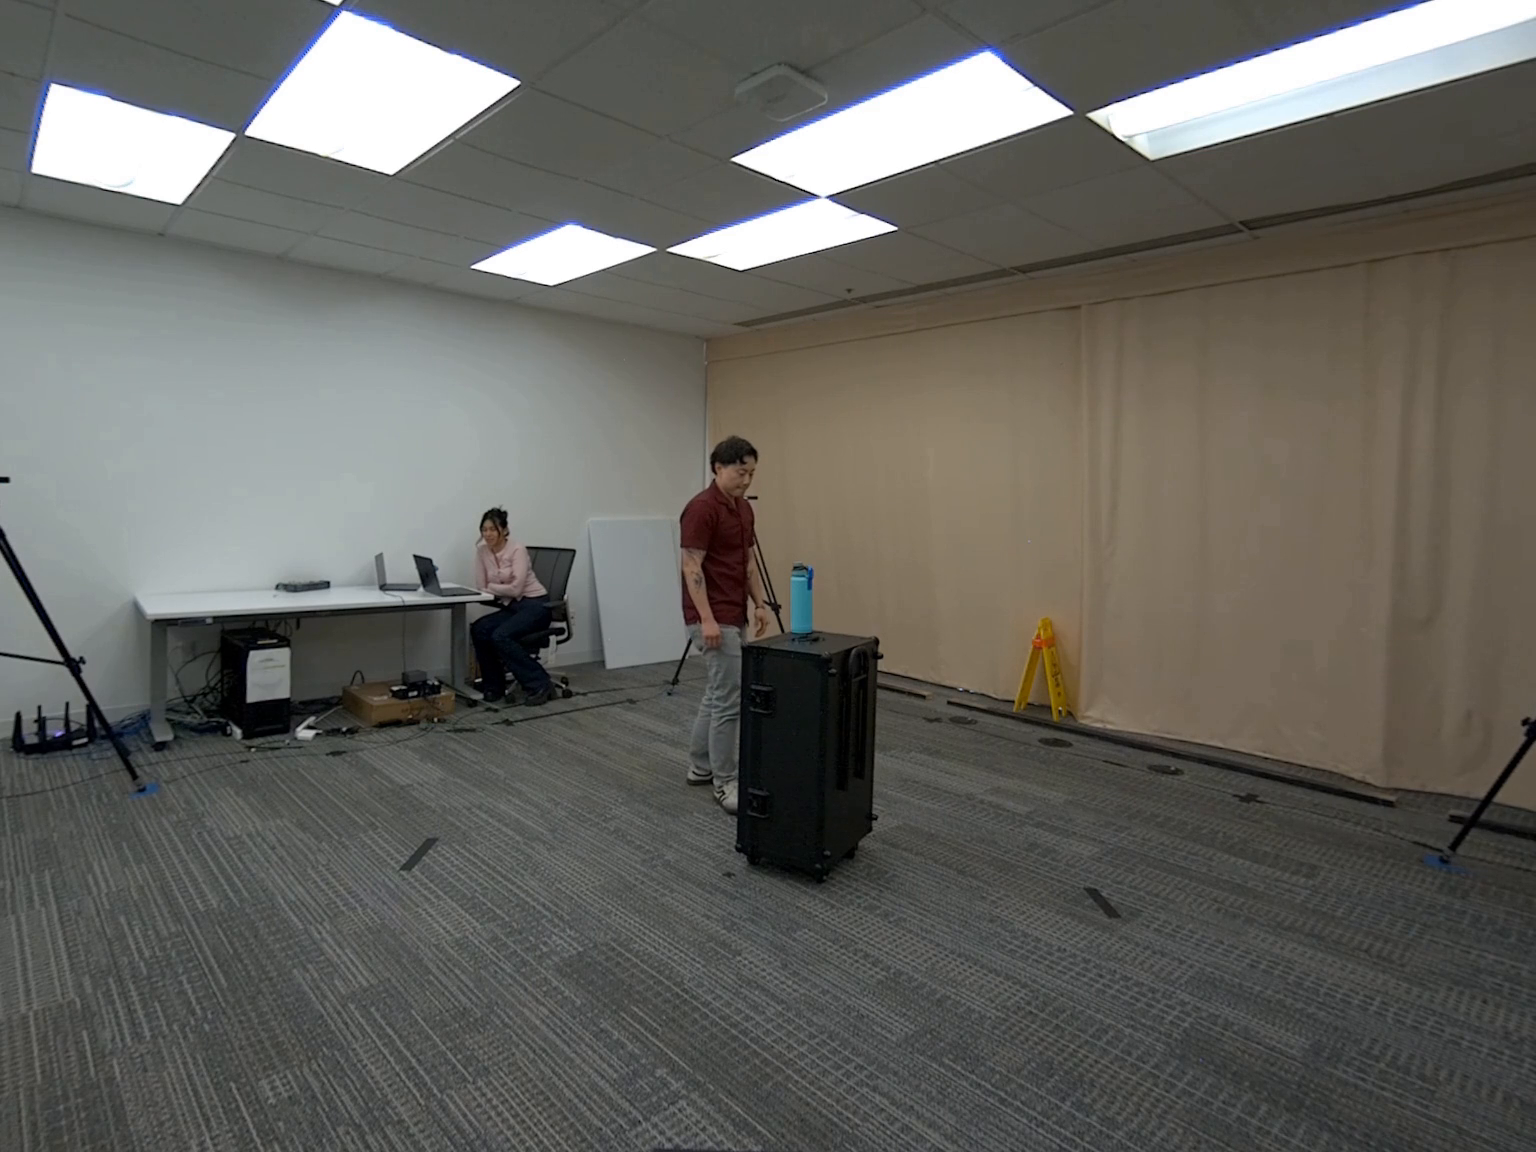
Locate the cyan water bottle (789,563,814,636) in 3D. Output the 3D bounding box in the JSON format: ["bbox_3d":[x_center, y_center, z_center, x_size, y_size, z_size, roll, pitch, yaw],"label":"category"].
[{"bbox_3d":[0.132,0.086,3.425,0.092,0.283,0.092,0,2,-1],"label":"cyan water bottle"}]
